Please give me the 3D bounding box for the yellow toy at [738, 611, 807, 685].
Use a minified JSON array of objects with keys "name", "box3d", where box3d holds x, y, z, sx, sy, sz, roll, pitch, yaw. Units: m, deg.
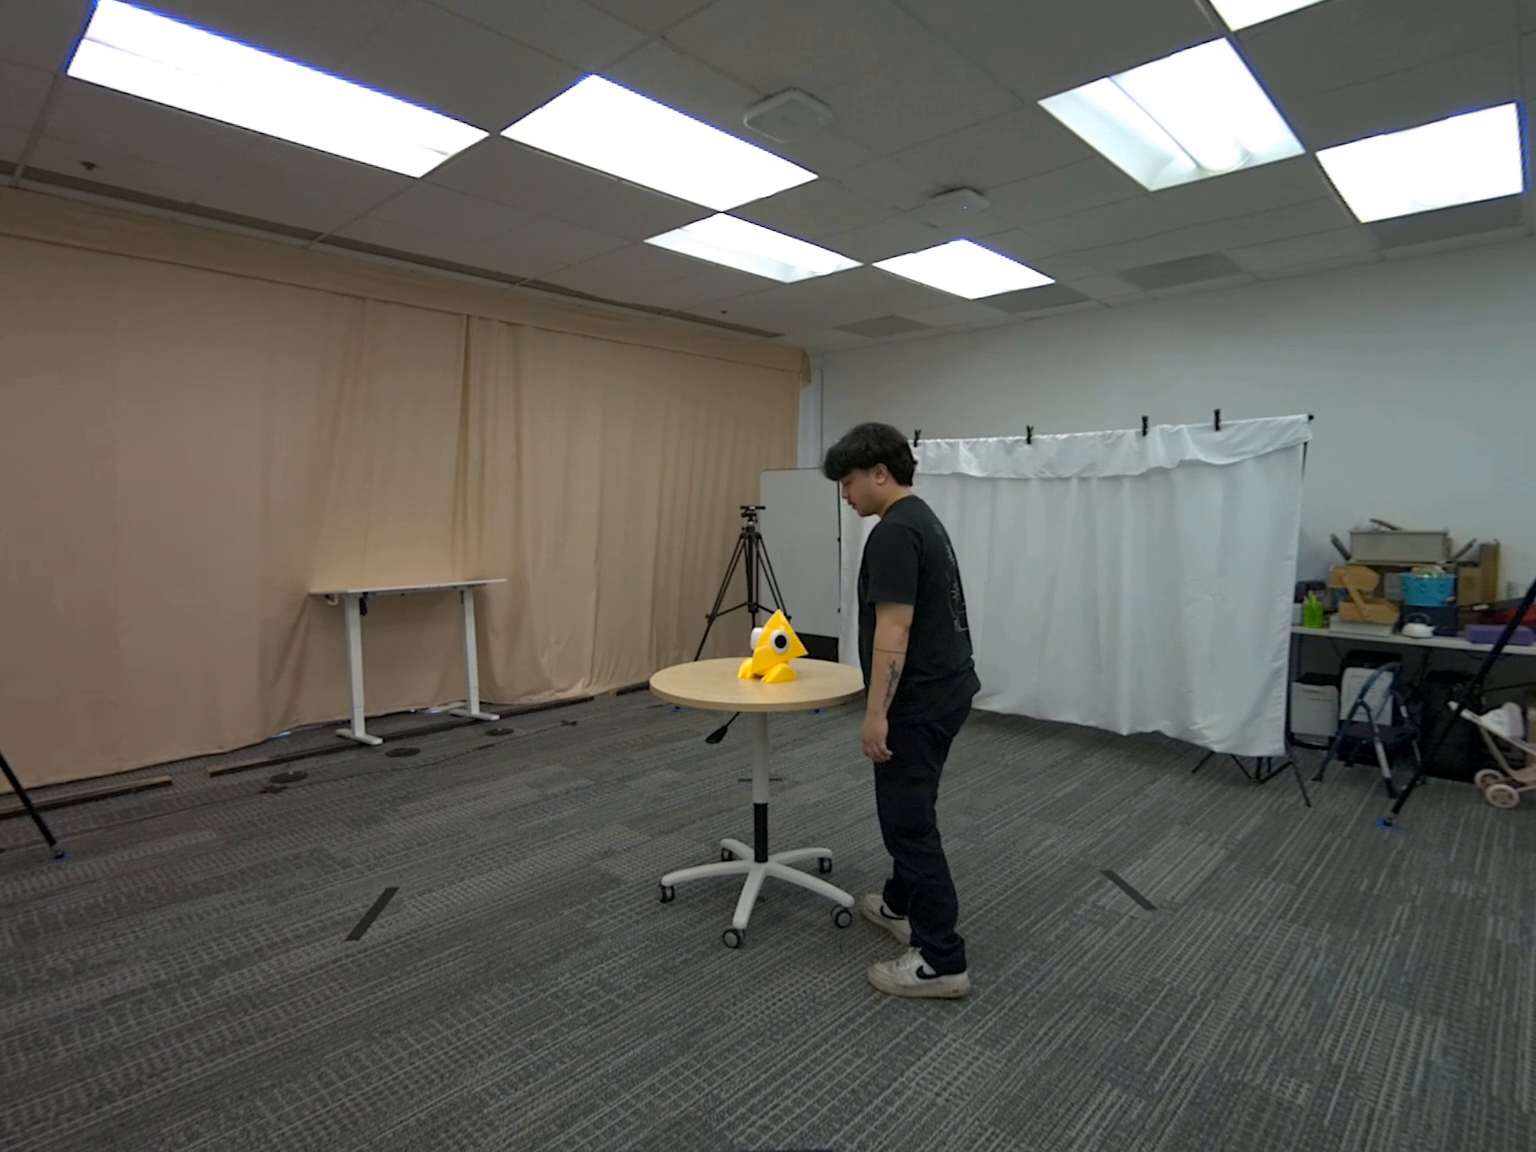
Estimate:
[{"name":"yellow toy","box3d":[0.003,0.240,2.940,0.211,0.230,0.187,3,6,41]}]
